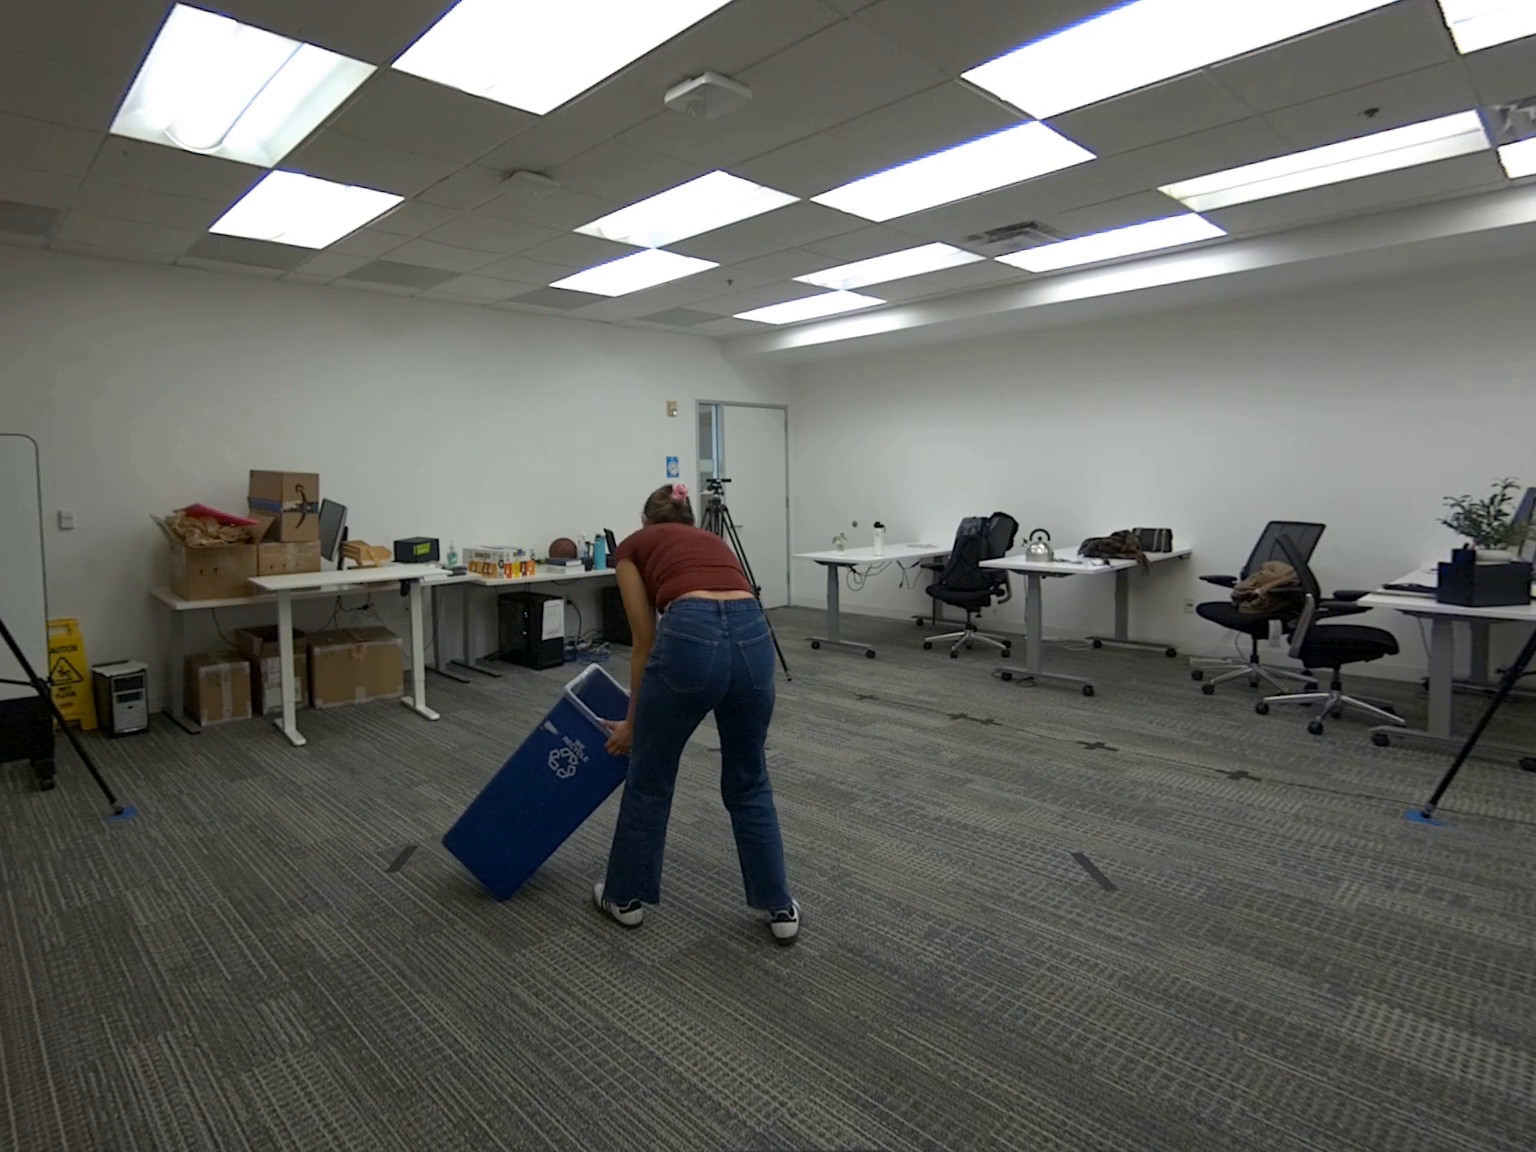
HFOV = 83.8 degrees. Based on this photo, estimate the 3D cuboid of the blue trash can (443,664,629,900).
[{"bbox_3d":[-0.734,0.719,2.959,0.375,0.713,0.377,41,9,1],"label":"blue trash can"}]
